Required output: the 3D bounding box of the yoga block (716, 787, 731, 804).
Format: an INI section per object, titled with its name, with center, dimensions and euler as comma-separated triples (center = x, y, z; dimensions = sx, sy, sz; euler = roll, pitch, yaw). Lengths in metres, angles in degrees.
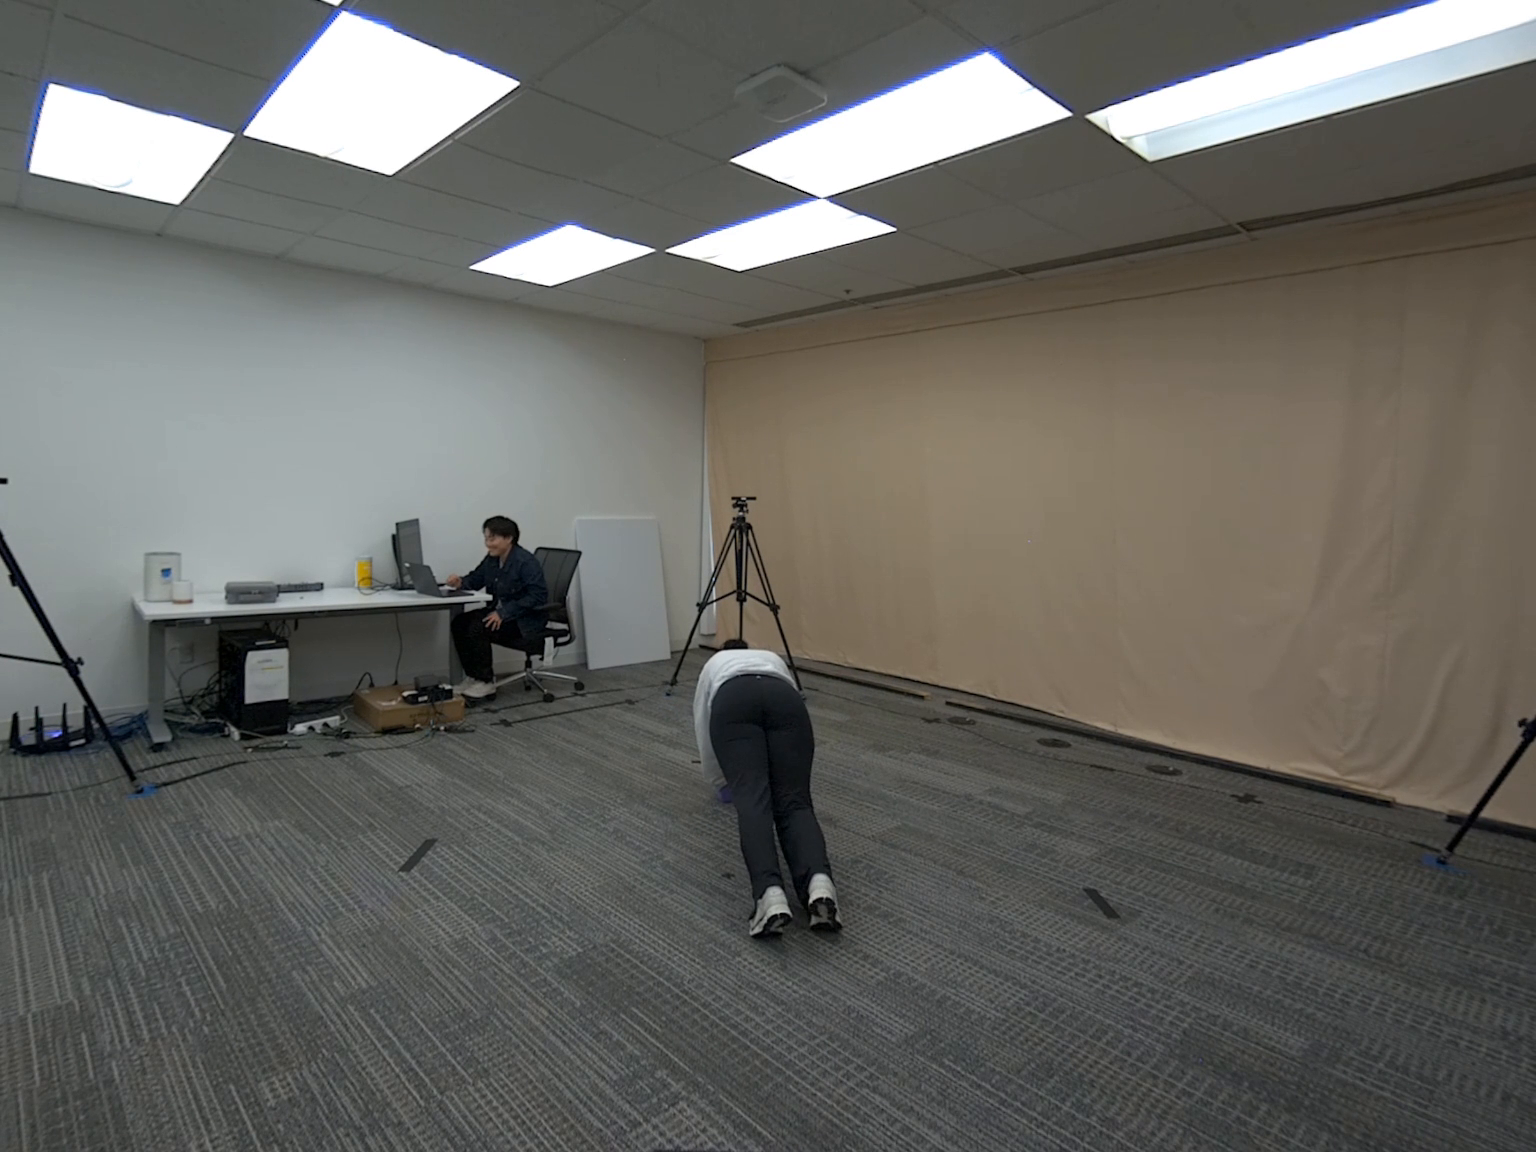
[yoga block]
center = -0.130, 1.006, 3.947
dimensions = 0.227, 0.076, 0.151
euler = 0, 5, -12
